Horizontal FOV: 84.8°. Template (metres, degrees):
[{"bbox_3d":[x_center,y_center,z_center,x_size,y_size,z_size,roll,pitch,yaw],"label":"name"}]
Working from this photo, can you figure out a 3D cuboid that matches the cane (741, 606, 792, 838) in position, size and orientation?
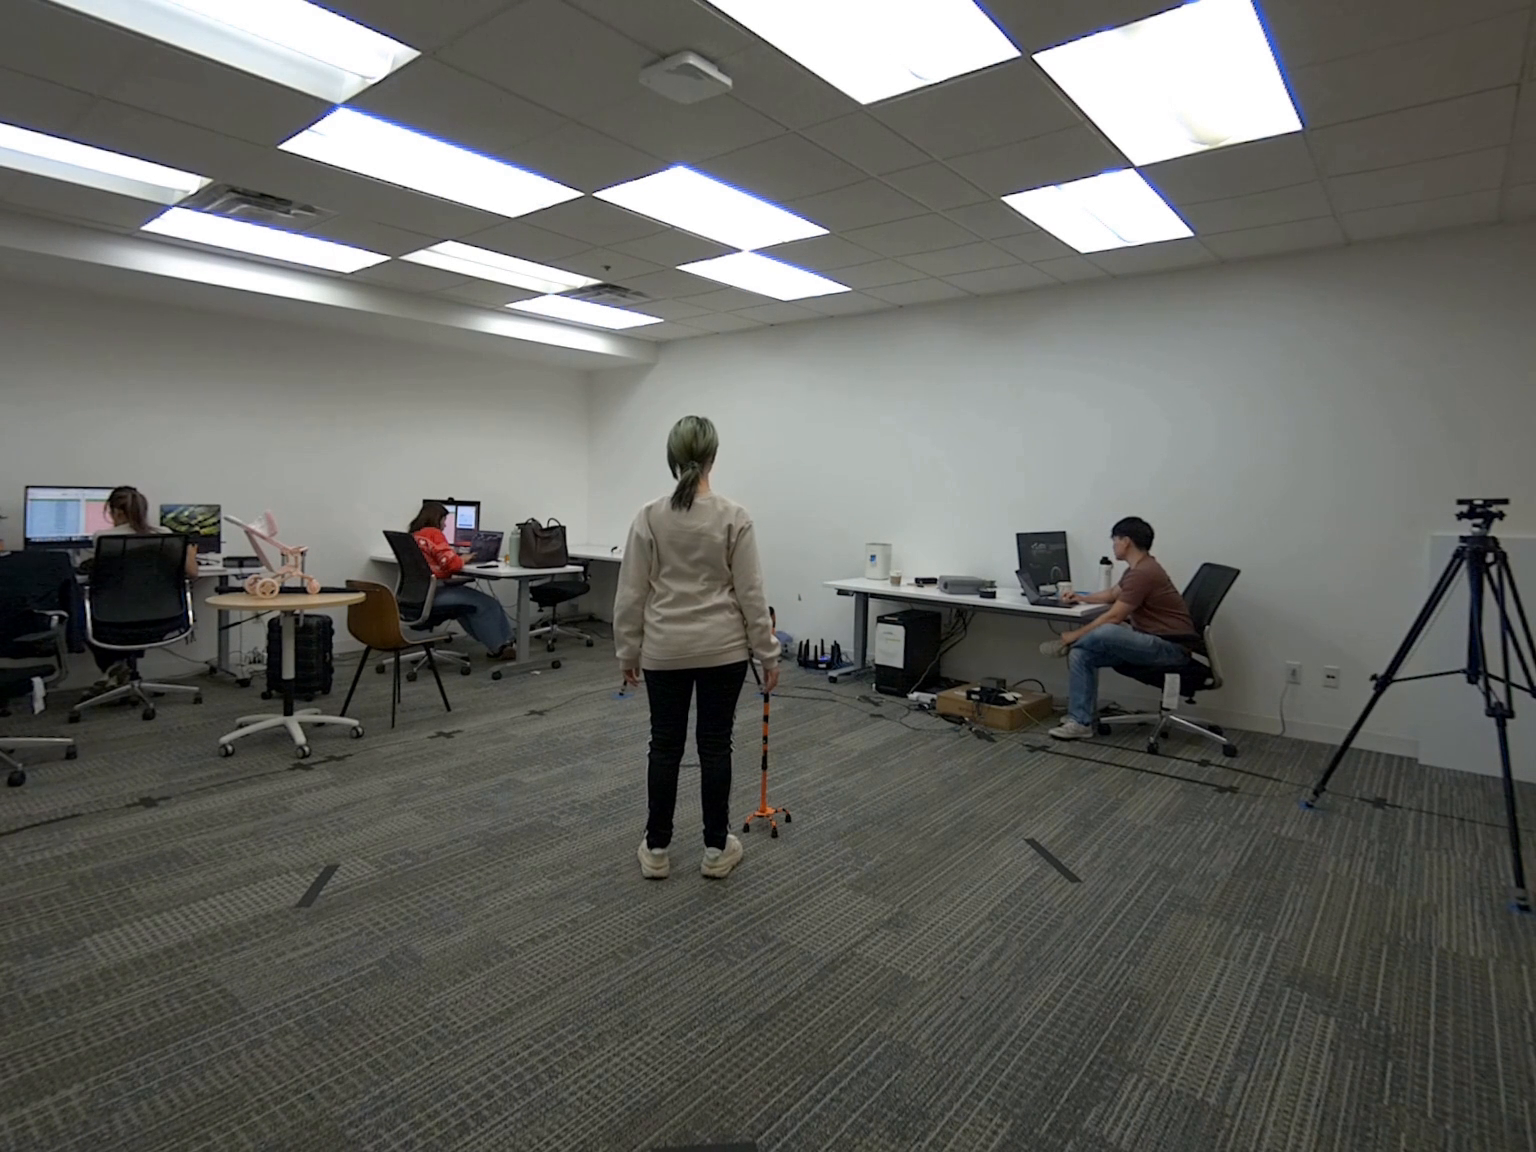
[{"bbox_3d":[-0.004,0.581,3.505,0.155,0.906,0.202,2,2,19],"label":"cane"}]
